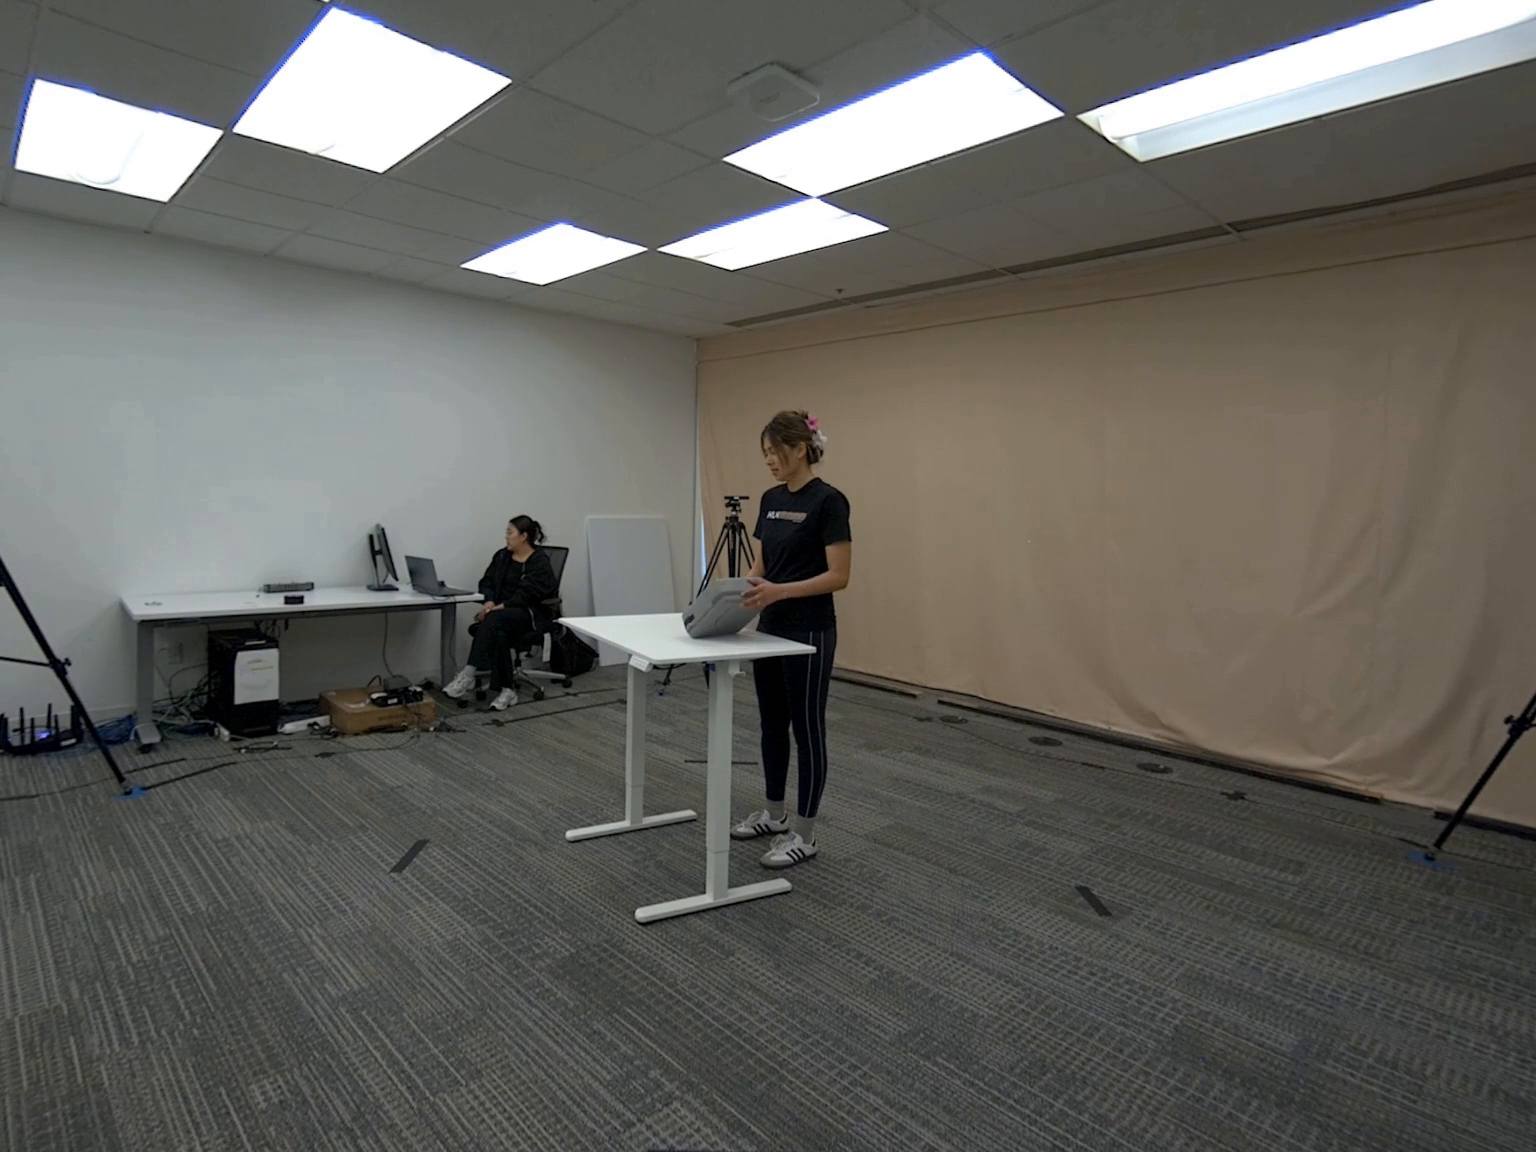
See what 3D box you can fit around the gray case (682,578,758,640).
[{"bbox_3d":[-0.153,0.115,3.022,0.254,0.107,0.256,-1,-35,-43],"label":"gray case"}]
